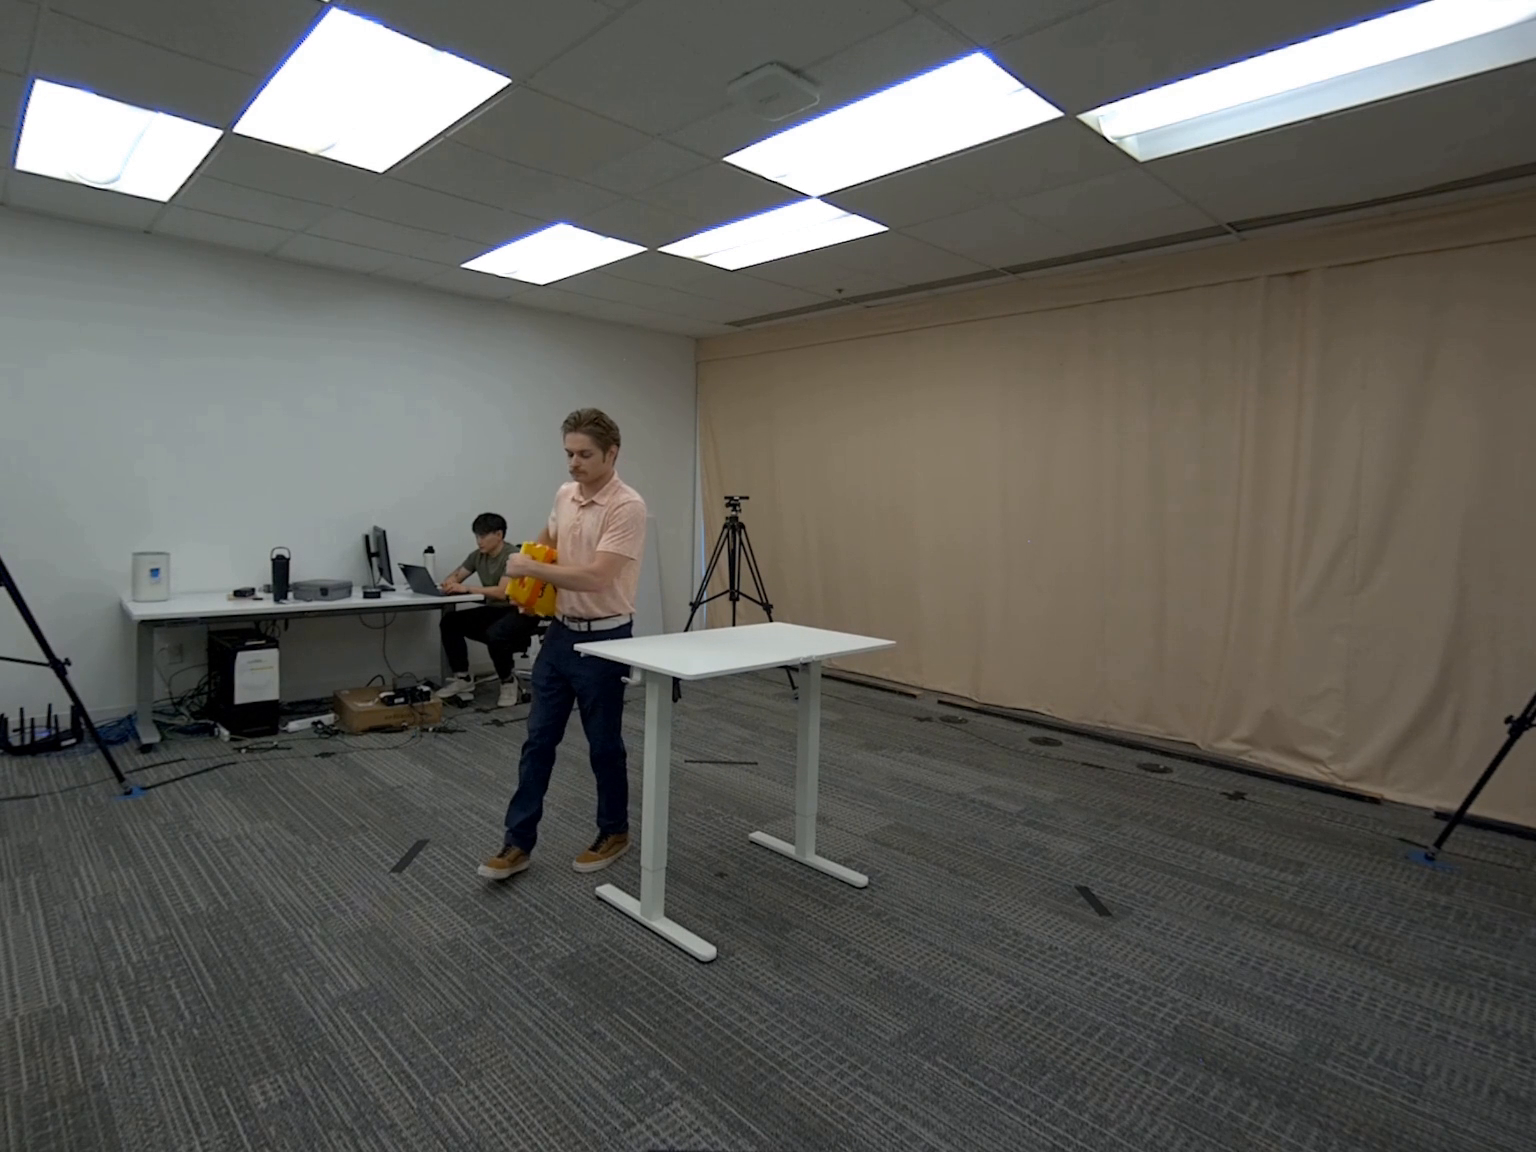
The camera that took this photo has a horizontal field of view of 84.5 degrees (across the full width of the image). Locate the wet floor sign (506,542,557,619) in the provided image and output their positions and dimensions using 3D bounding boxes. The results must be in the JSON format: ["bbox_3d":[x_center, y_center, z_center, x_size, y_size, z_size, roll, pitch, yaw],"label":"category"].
[{"bbox_3d":[-0.857,0.031,3.263,0.293,0.283,0.636,19,-8,11],"label":"wet floor sign"}]
